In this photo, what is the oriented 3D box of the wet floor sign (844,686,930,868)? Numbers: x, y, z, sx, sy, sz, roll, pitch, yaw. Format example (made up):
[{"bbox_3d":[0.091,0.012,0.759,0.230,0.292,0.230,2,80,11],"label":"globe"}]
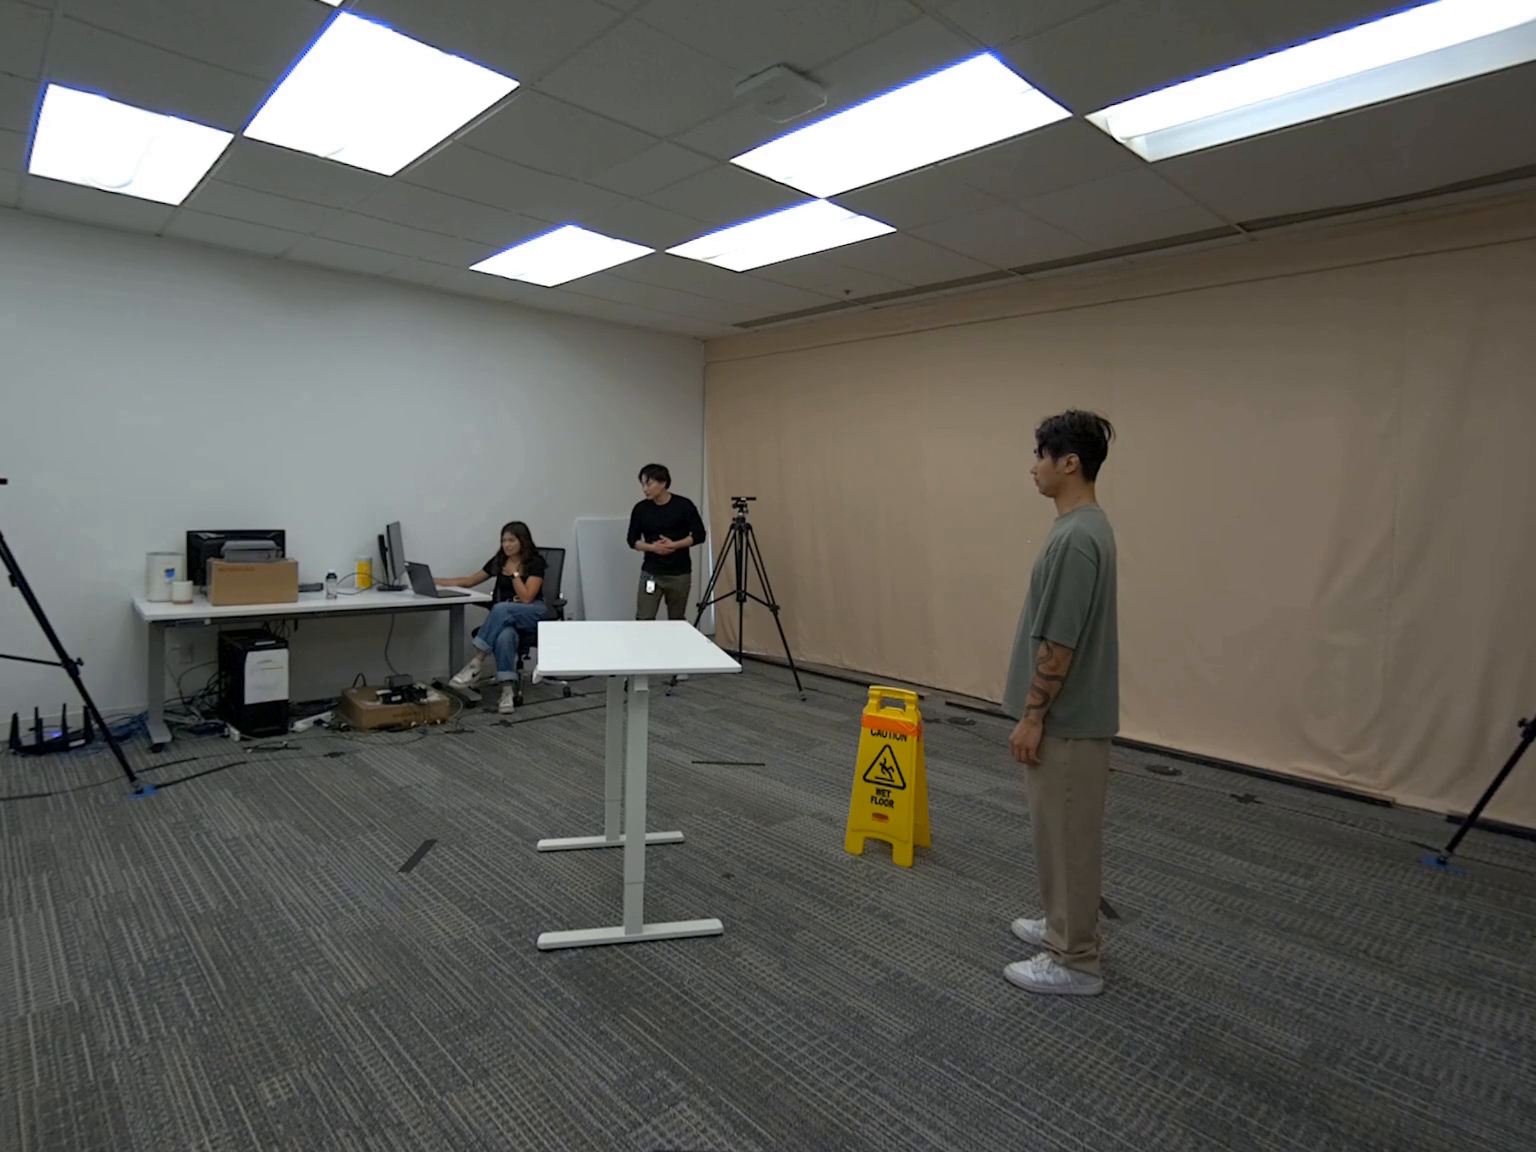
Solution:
[{"bbox_3d":[0.483,0.775,3.376,0.288,0.645,0.284,4,3,28],"label":"wet floor sign"}]
